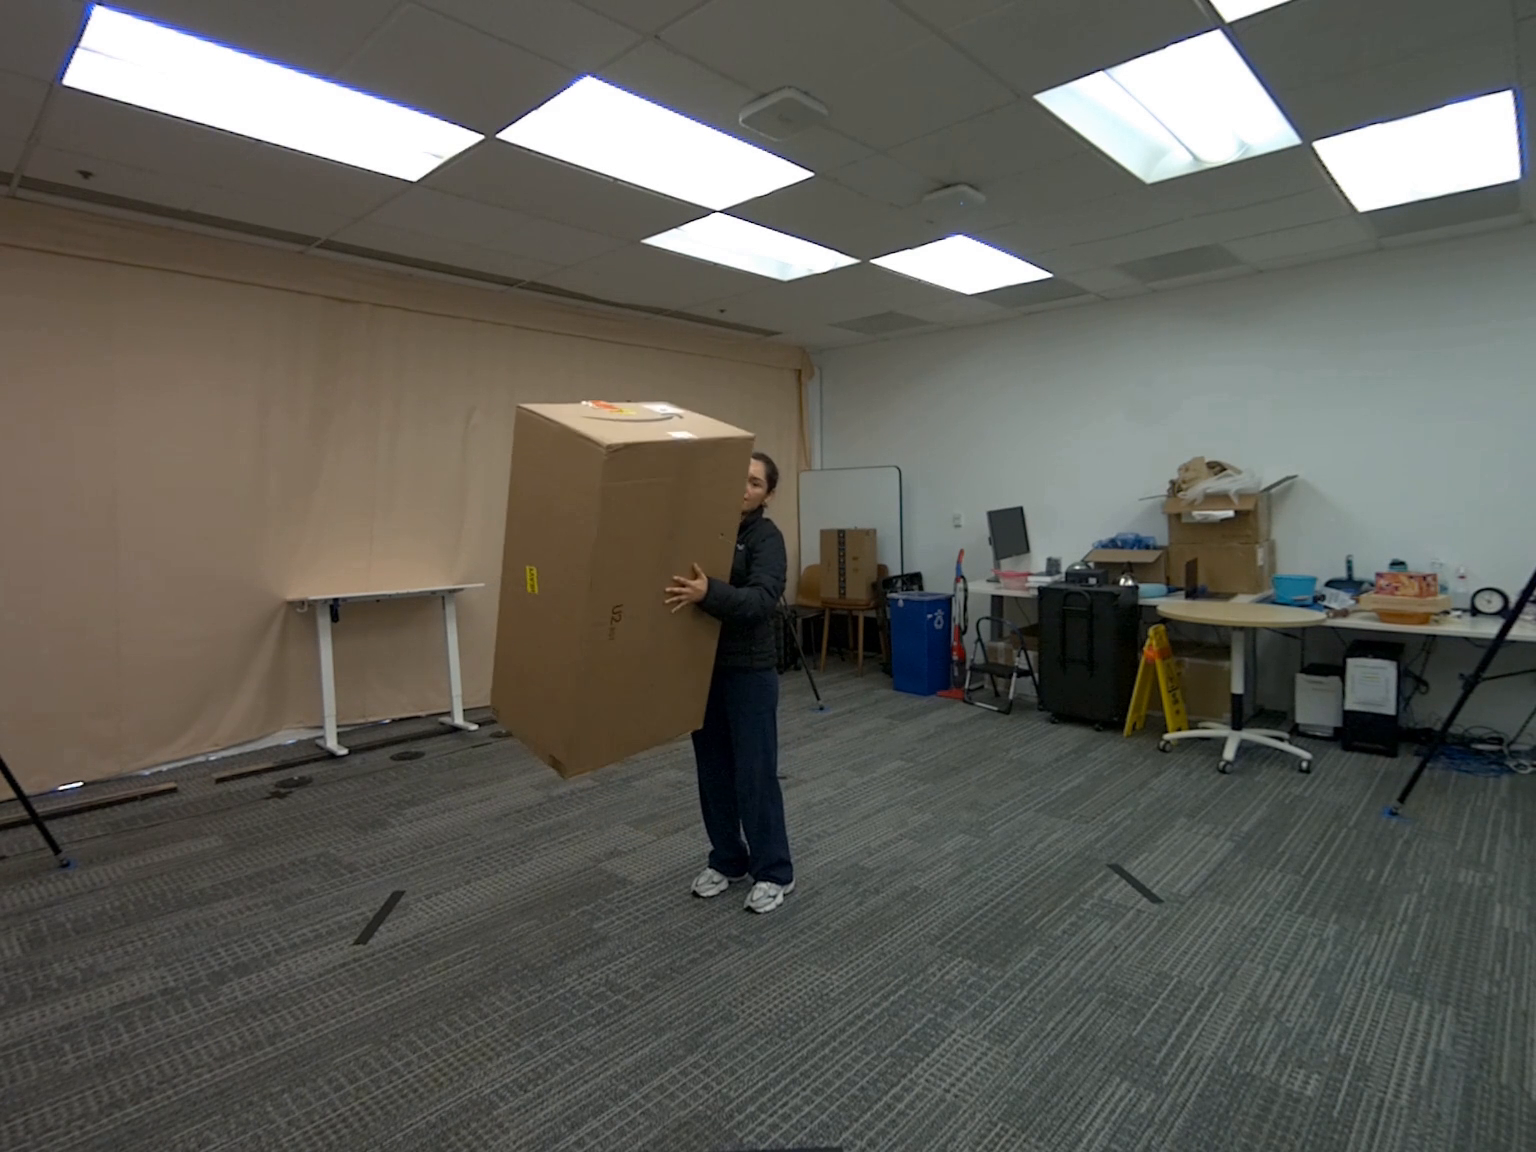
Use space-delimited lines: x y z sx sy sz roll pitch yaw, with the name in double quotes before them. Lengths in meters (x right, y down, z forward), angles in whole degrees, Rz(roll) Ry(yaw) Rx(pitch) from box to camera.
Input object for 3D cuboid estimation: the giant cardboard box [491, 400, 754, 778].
"giant cardboard box" -0.455 0.007 2.615 0.441 1.018 0.561 27 24 35
